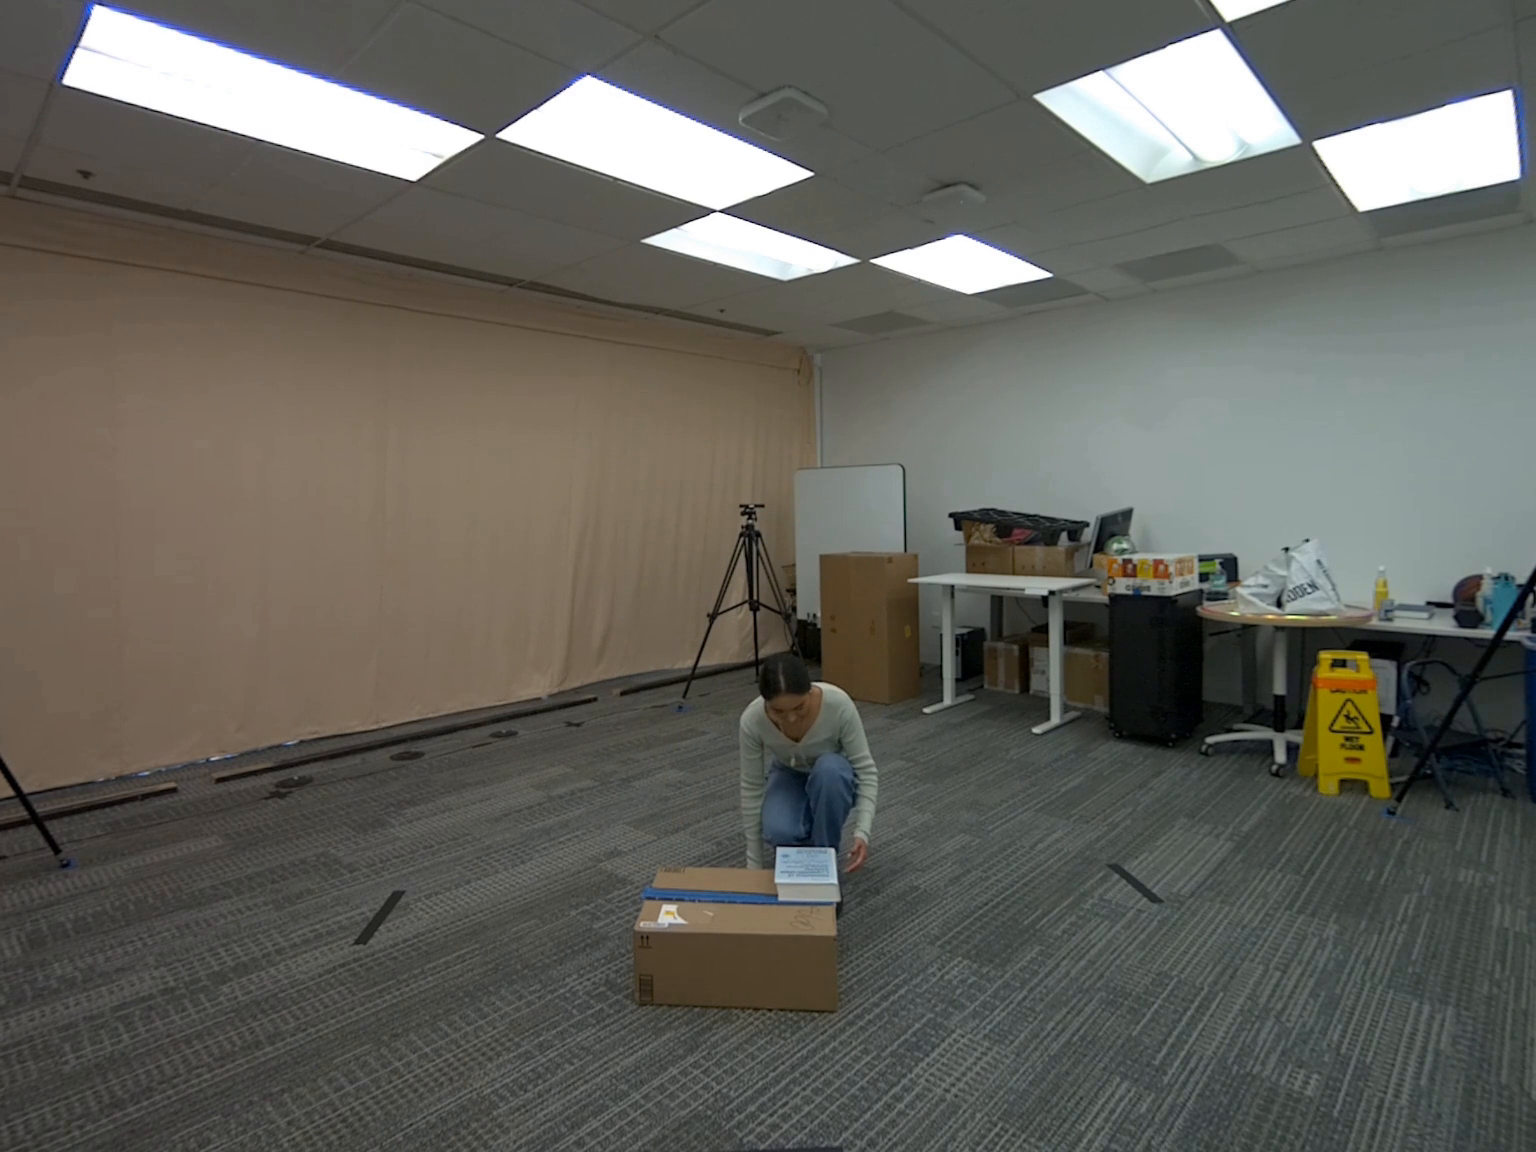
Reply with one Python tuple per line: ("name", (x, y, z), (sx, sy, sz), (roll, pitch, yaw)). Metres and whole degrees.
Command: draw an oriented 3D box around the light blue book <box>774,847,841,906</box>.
("light blue book", (0.117, 0.918, 2.621), (0.192, 0.059, 0.260), (-2, 4, 3))
